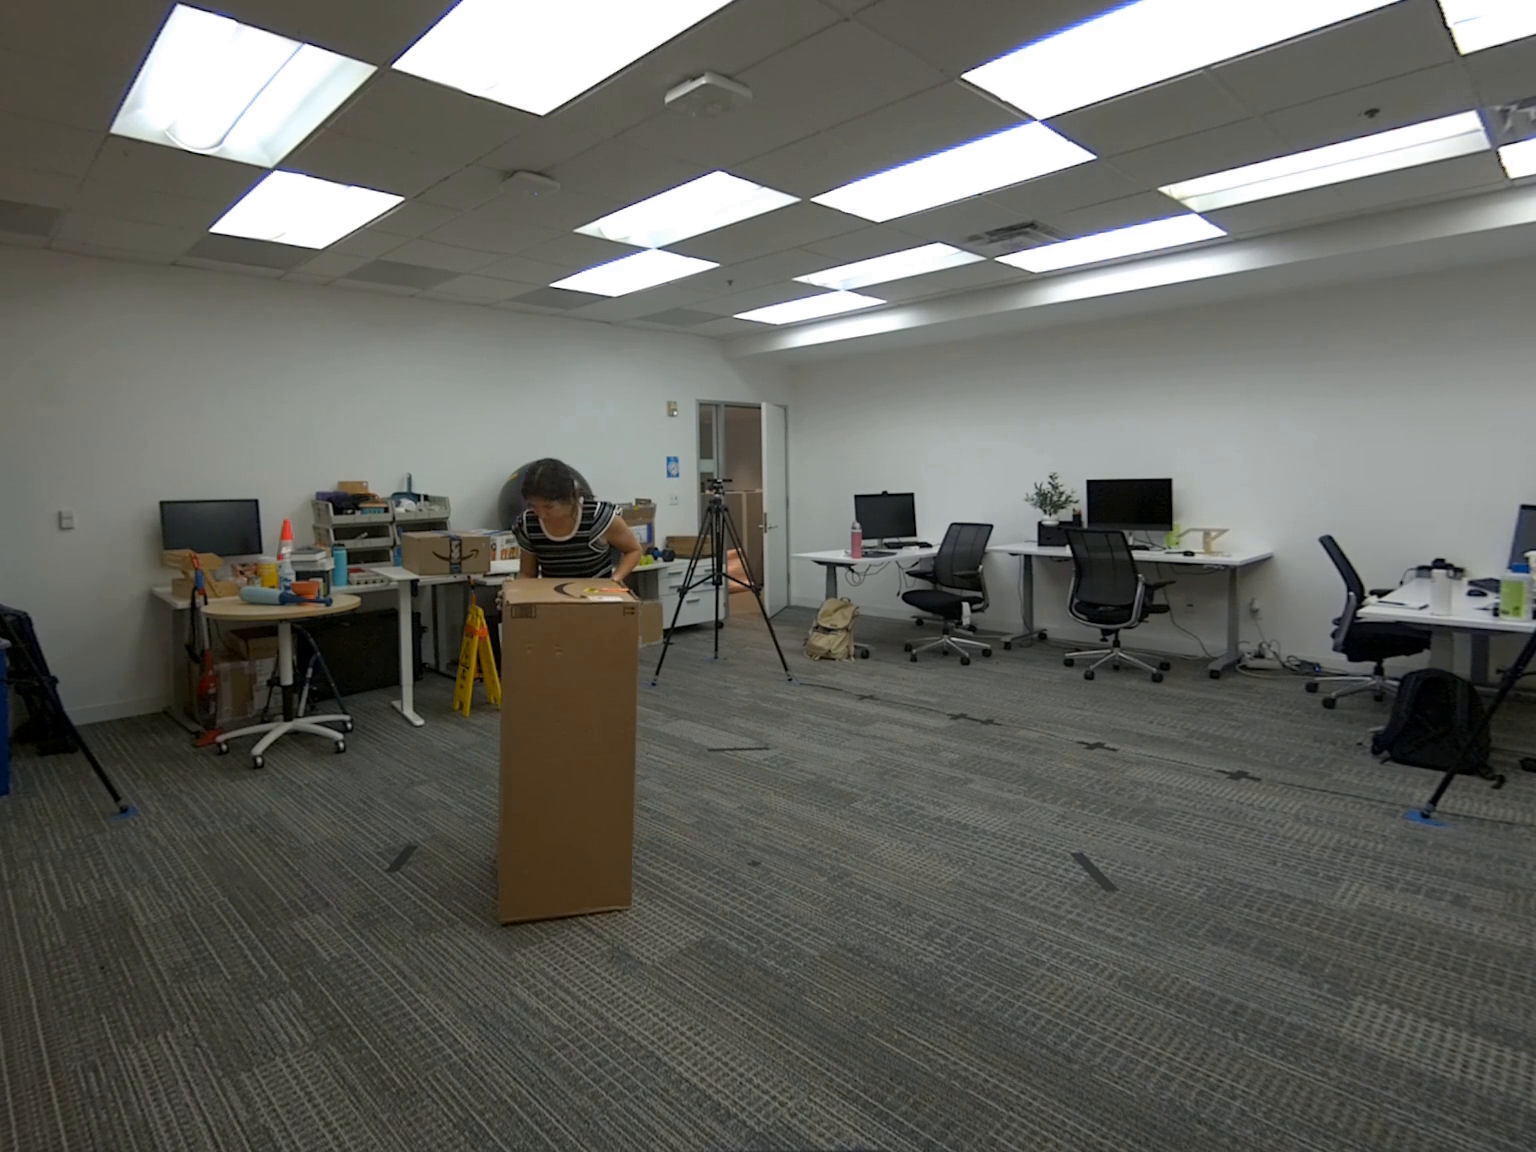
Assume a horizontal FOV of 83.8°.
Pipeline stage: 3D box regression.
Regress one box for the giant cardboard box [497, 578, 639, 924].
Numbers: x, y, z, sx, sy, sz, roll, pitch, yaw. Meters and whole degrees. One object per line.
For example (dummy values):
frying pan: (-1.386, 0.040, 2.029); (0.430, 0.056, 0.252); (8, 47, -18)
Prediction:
giant cardboard box: (-0.710, 0.555, 2.980); (0.419, 1.023, 0.589); (1, 4, -17)
